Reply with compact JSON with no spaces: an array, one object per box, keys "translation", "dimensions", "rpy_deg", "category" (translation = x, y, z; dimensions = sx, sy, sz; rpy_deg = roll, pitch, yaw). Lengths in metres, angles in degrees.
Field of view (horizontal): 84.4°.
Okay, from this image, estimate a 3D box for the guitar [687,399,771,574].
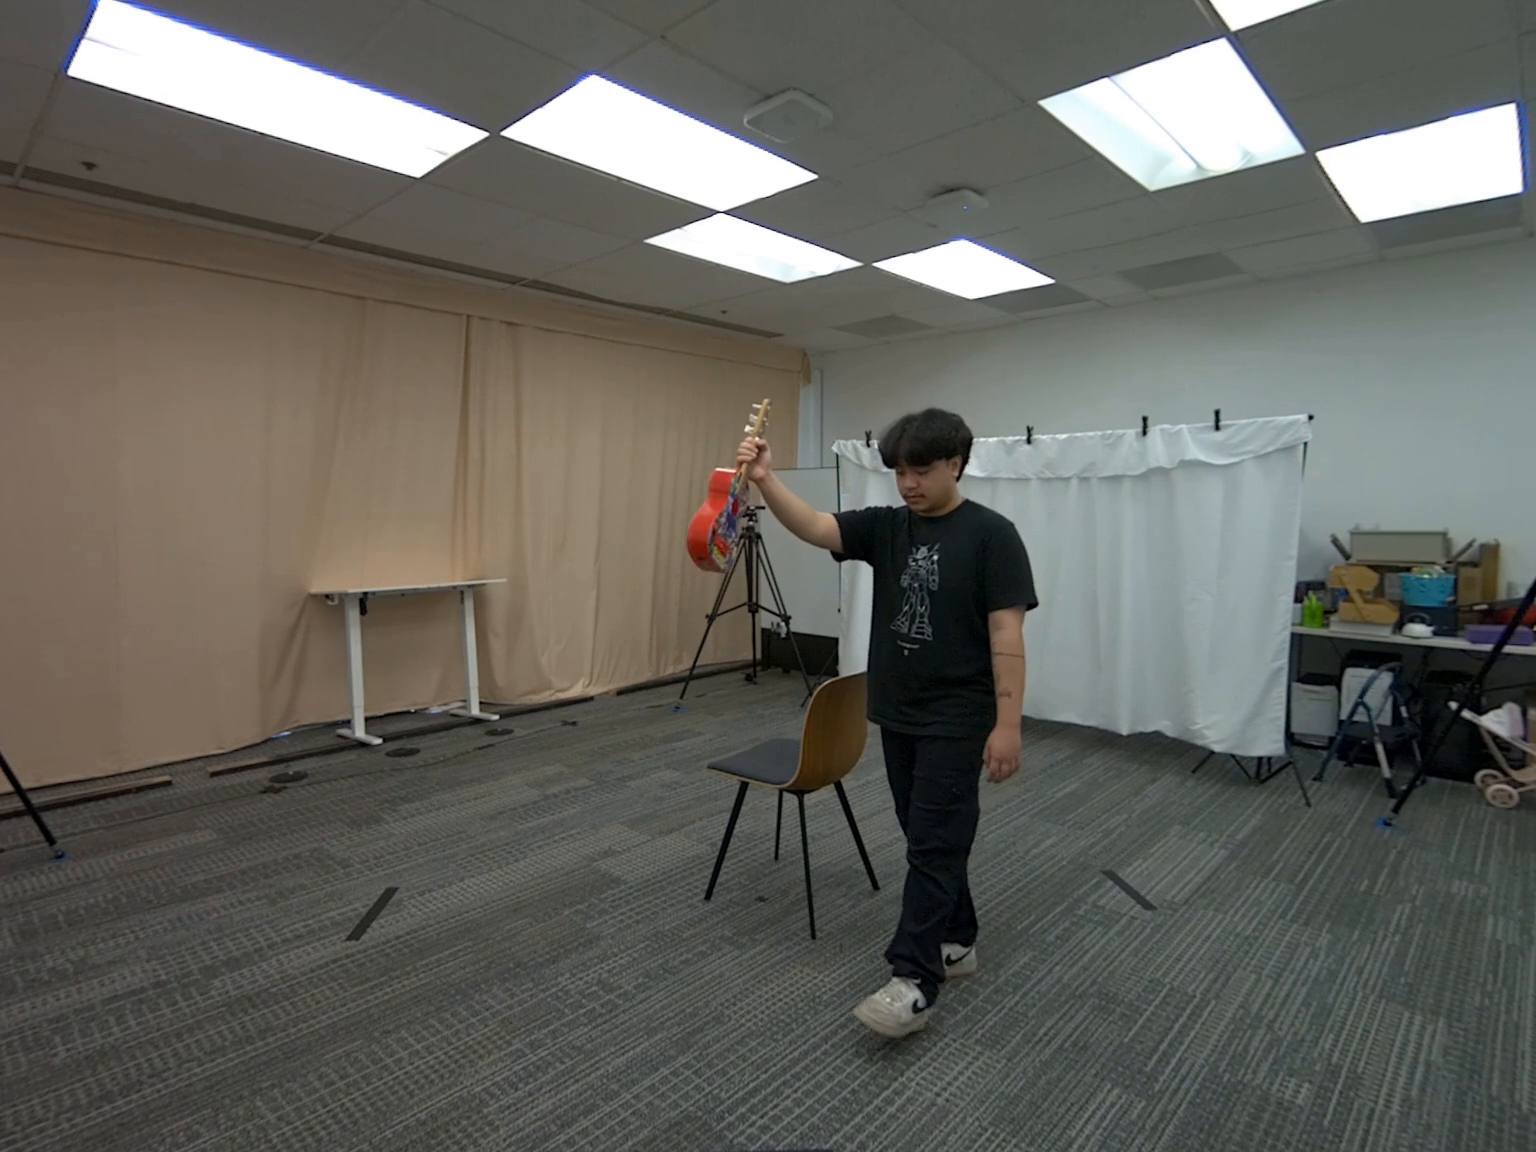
[{"translation":[-0.076,-0.234,2.240],"dimensions":[0.072,0.500,0.188],"rpy_deg":[10,-28,18],"category":"guitar"}]
